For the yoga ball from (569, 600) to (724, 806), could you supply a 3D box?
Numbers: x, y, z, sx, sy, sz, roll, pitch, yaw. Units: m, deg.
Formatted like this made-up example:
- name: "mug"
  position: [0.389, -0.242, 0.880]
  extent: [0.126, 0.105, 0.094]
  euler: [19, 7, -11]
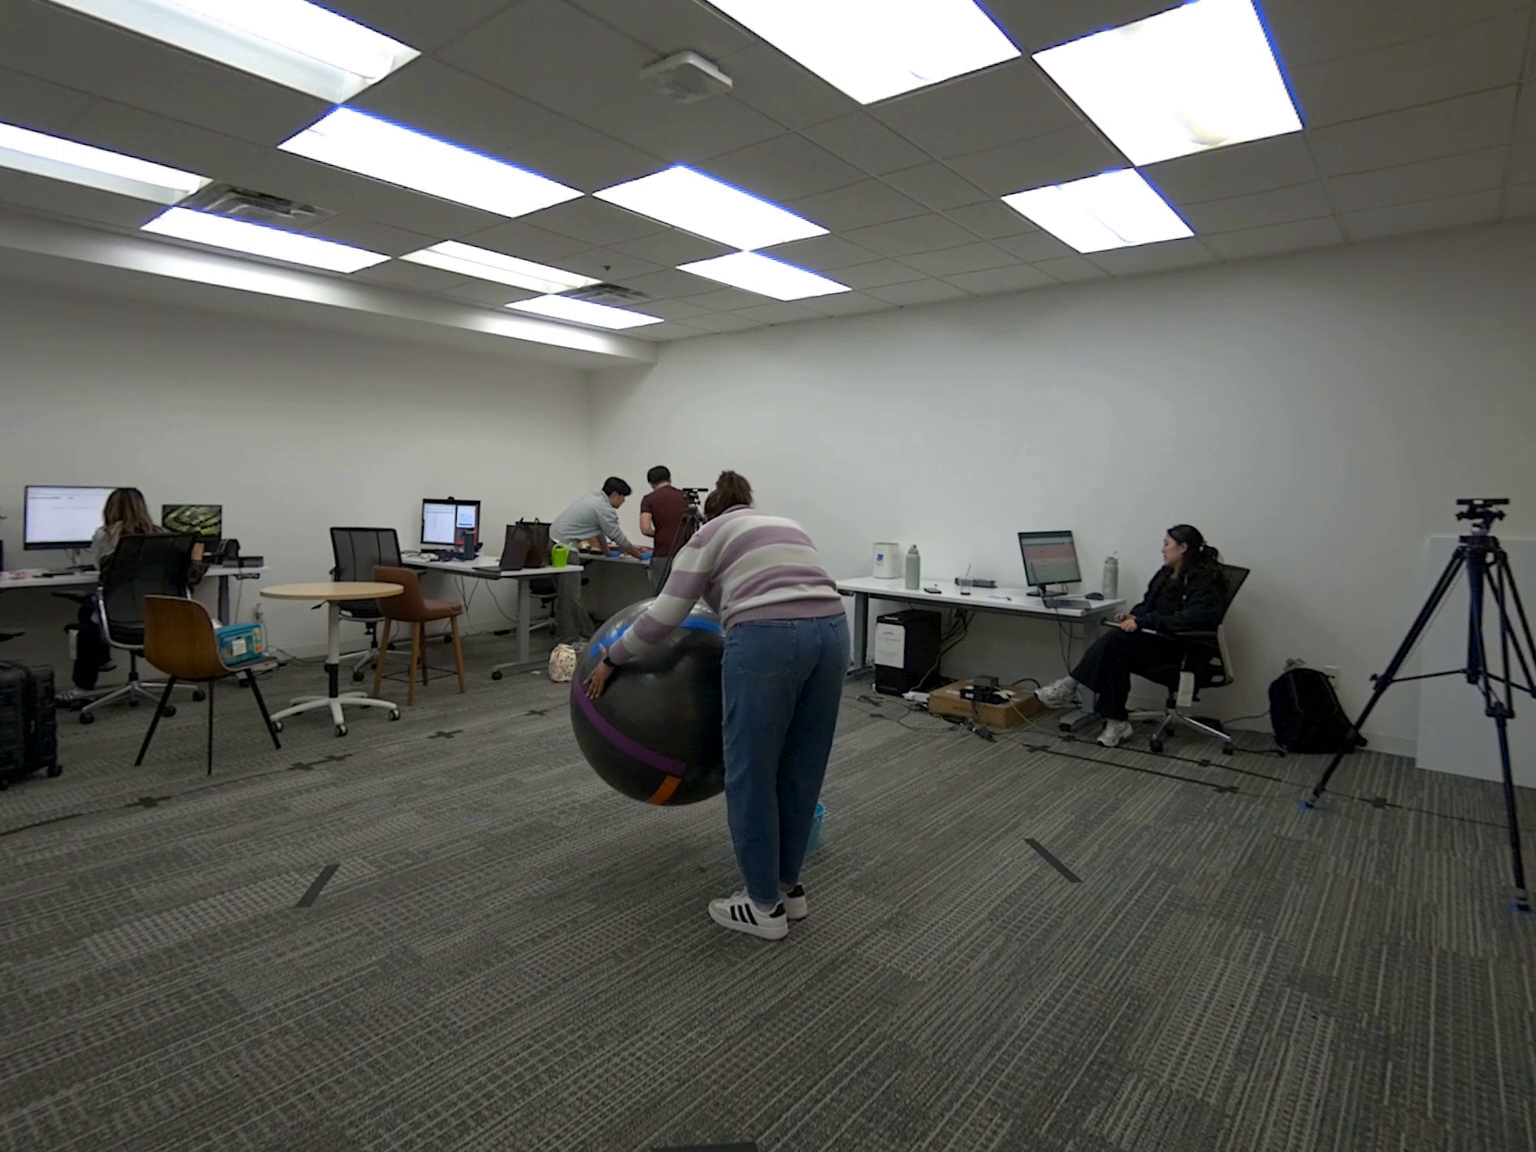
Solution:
- name: "yoga ball"
  position: [-0.353, 0.462, 3.156]
  extent: [0.757, 0.755, 0.762]
  euler: [1, 4, -2]
